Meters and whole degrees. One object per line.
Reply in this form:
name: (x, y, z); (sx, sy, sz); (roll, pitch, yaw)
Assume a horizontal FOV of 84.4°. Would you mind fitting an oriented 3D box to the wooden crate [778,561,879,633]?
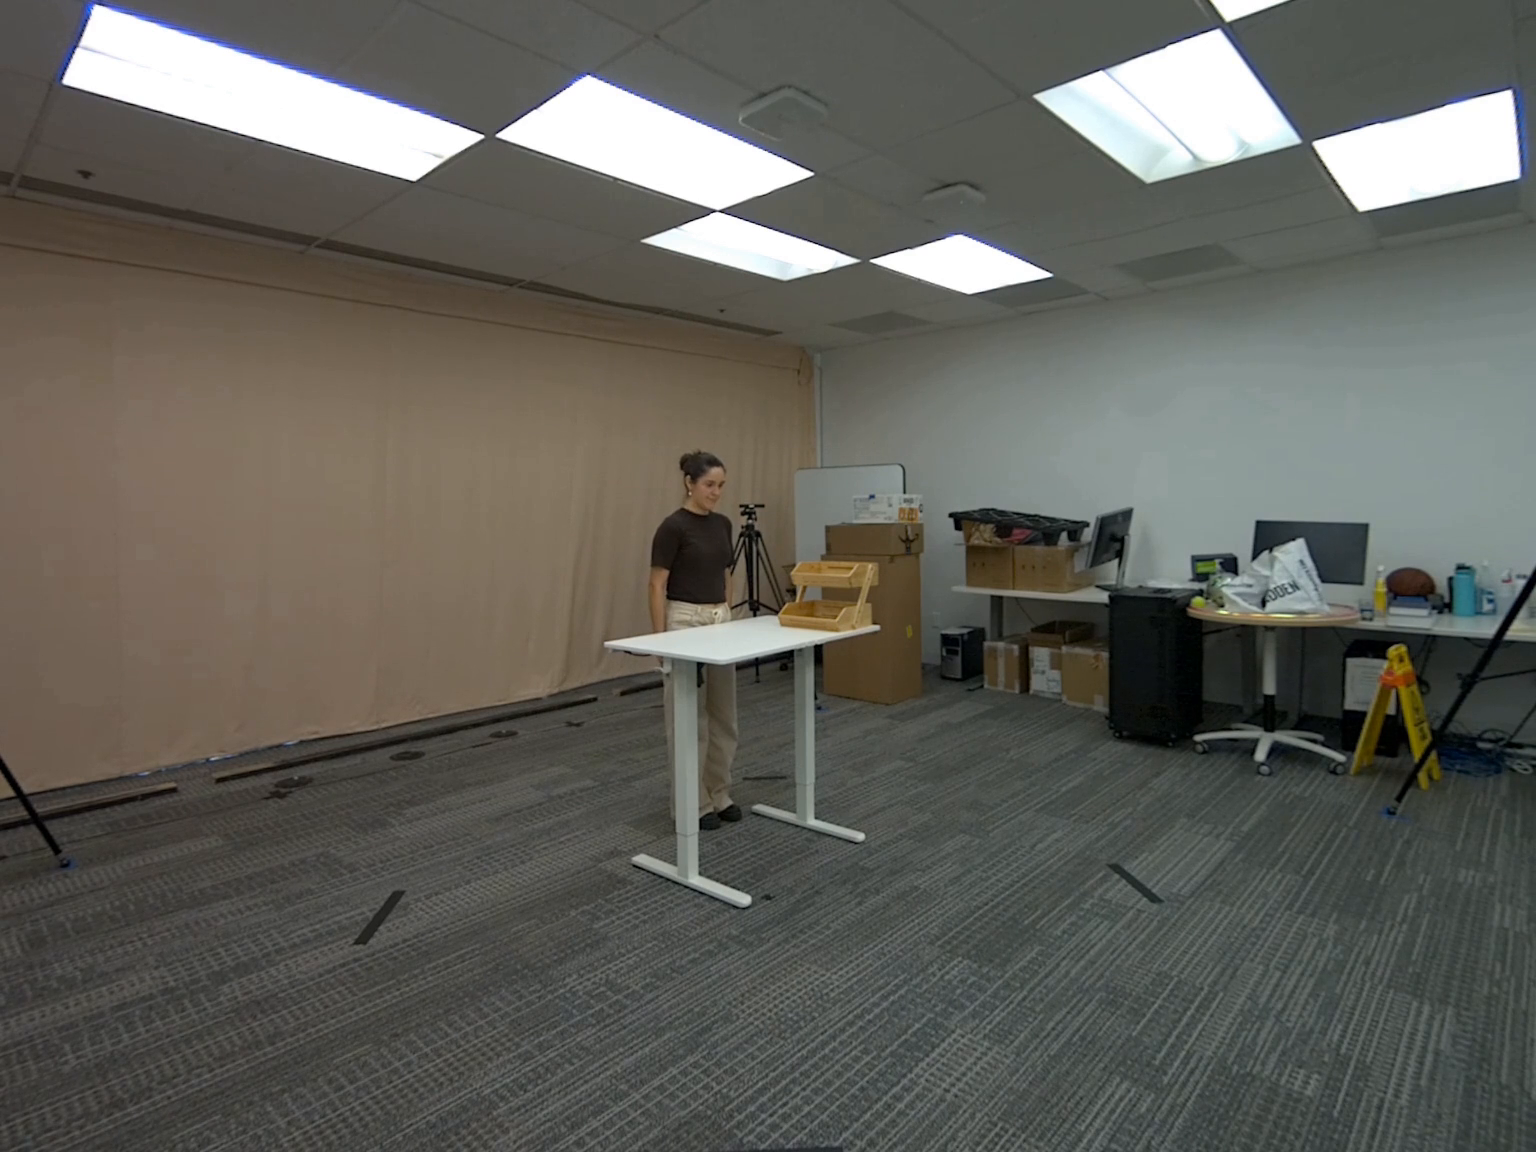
wooden crate: (0.254, 0.074, 3.527); (0.335, 0.273, 0.293); (2, 4, 41)
